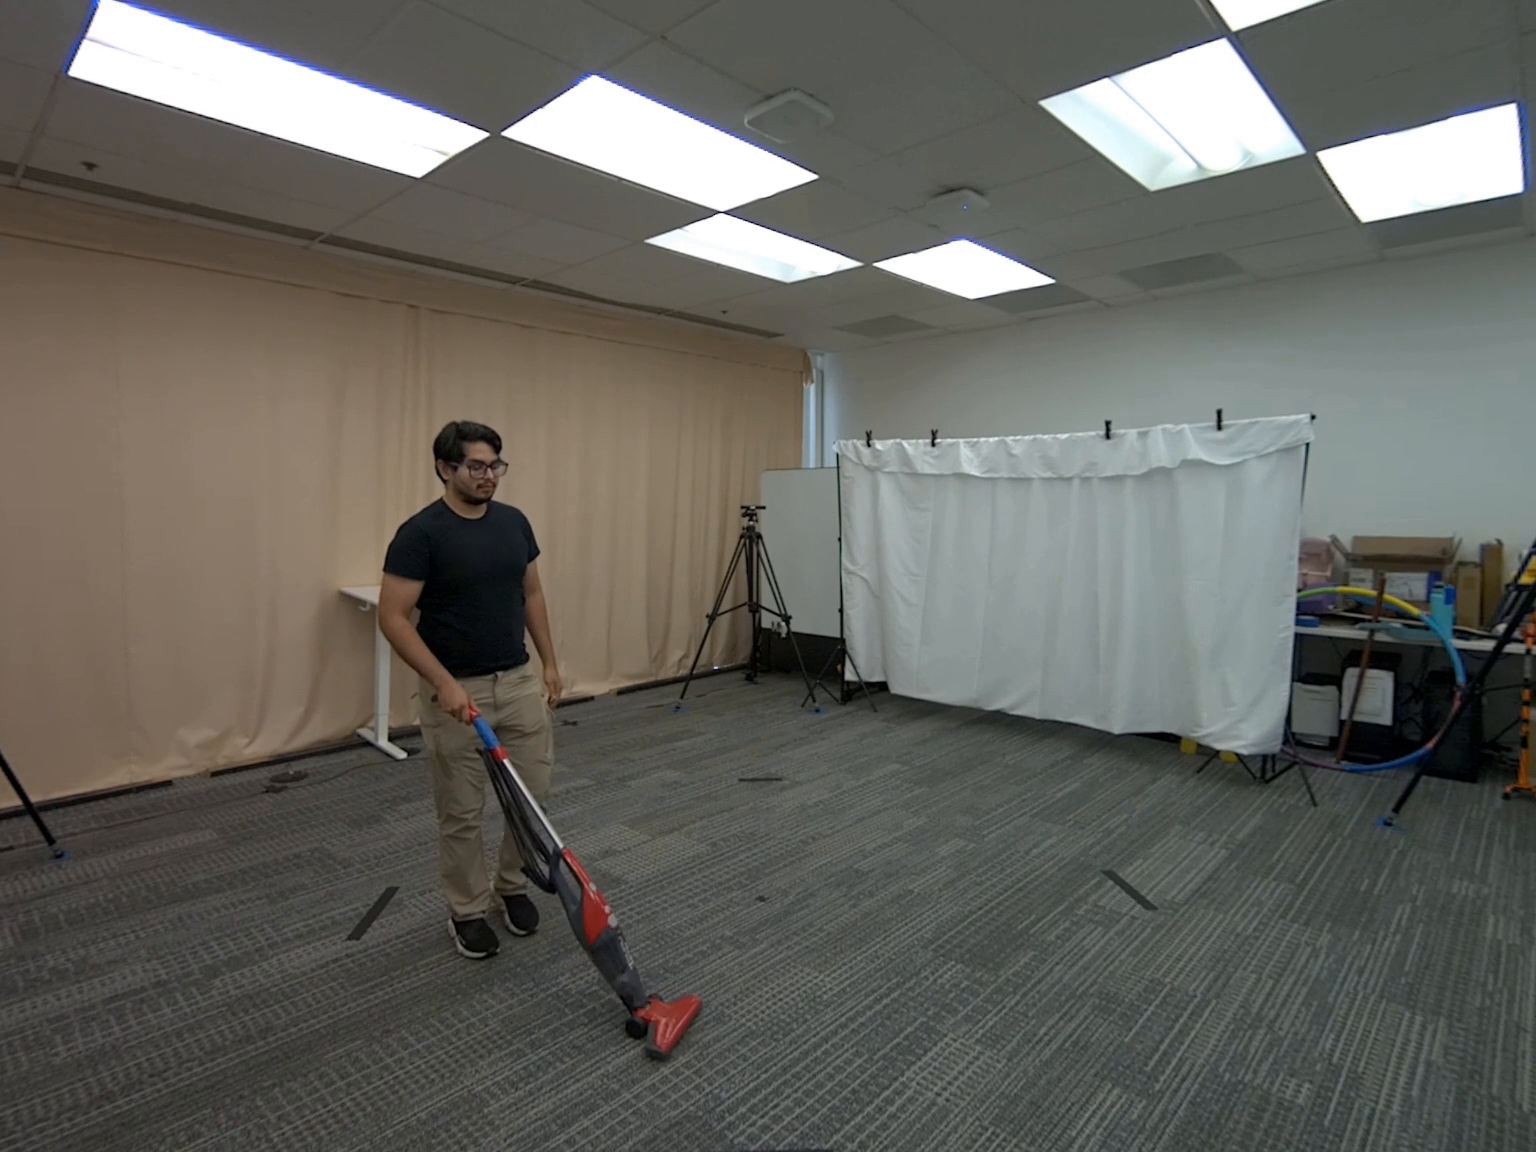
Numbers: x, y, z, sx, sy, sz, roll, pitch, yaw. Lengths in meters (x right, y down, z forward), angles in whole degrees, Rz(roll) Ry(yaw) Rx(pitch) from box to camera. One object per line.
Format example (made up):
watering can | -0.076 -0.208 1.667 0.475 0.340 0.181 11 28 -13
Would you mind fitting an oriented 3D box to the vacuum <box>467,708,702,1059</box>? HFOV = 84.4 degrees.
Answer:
vacuum | -0.590 0.787 2.347 0.145 1.063 0.247 -41 -12 20
